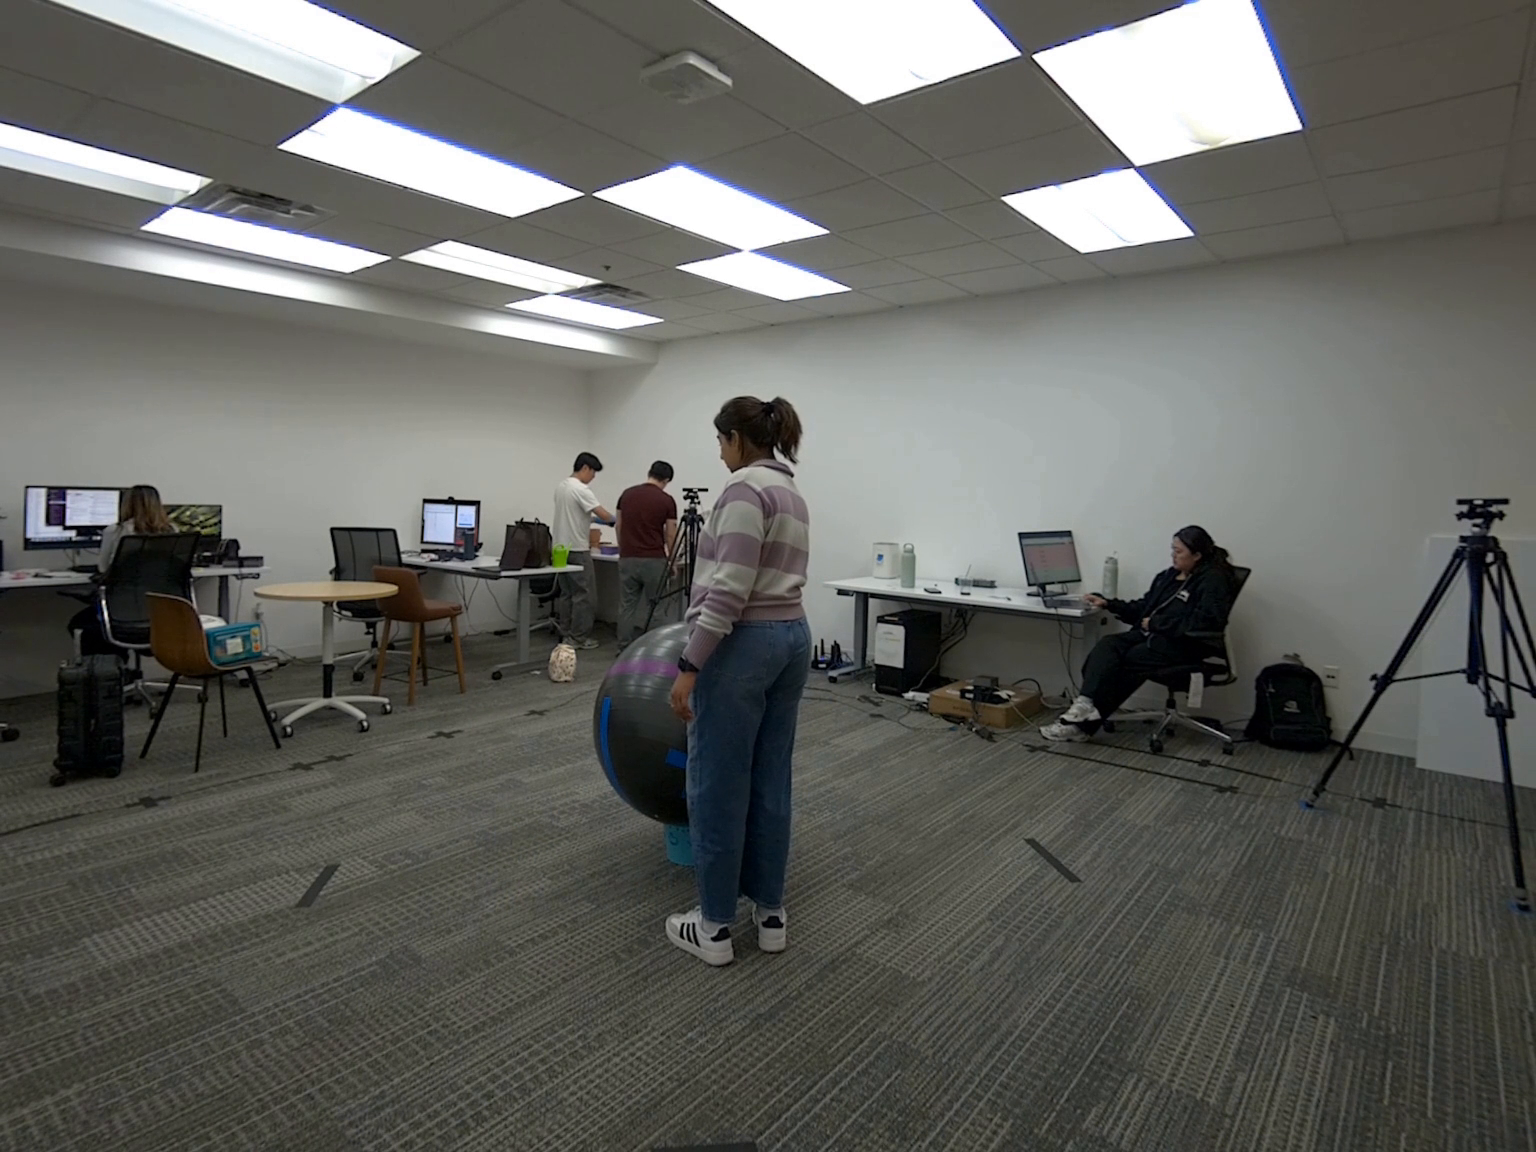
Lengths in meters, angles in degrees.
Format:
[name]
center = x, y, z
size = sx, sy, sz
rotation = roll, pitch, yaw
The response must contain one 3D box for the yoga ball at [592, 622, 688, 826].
[yoga ball]
center = -0.294, 0.546, 3.209
size = 0.757, 0.756, 0.762
rotation = 1, 4, -2
